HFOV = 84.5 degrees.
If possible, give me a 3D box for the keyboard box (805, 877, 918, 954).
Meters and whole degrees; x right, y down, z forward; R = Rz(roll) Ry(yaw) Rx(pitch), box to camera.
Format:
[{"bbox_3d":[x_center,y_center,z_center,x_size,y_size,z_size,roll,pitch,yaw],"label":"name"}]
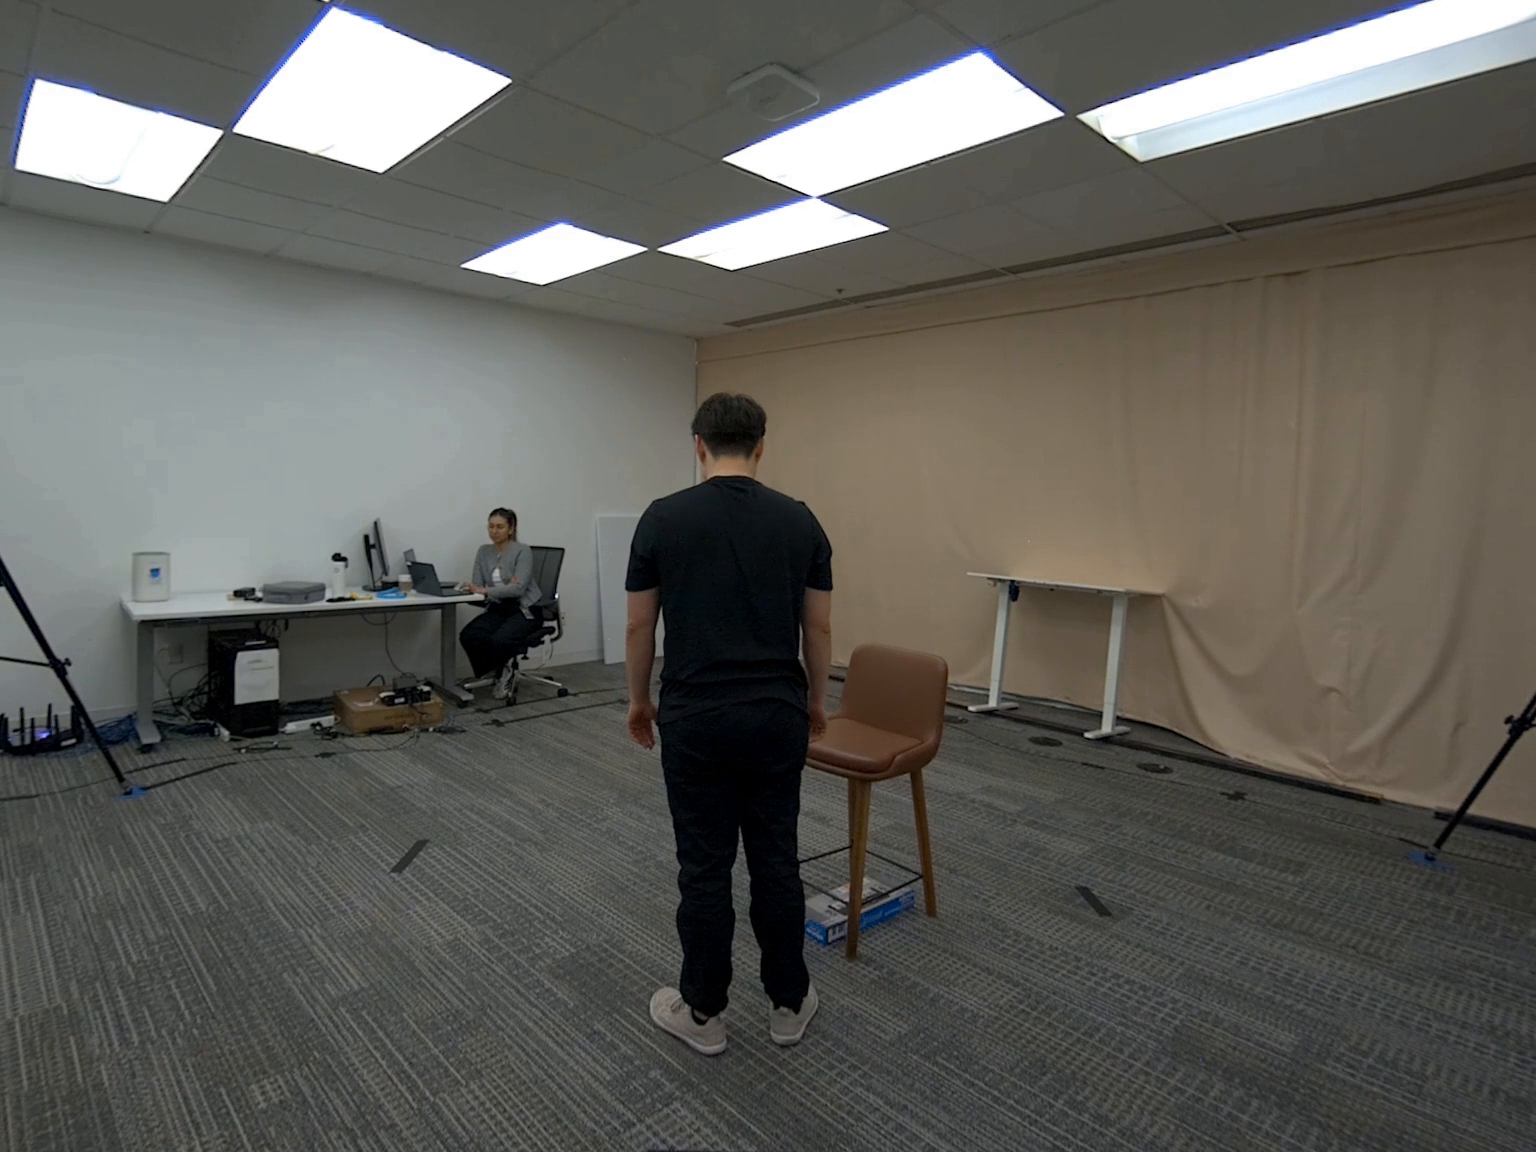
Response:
[{"bbox_3d":[0.286,1.120,2.819,0.427,0.059,0.180,-3,7,-41],"label":"keyboard box"}]
